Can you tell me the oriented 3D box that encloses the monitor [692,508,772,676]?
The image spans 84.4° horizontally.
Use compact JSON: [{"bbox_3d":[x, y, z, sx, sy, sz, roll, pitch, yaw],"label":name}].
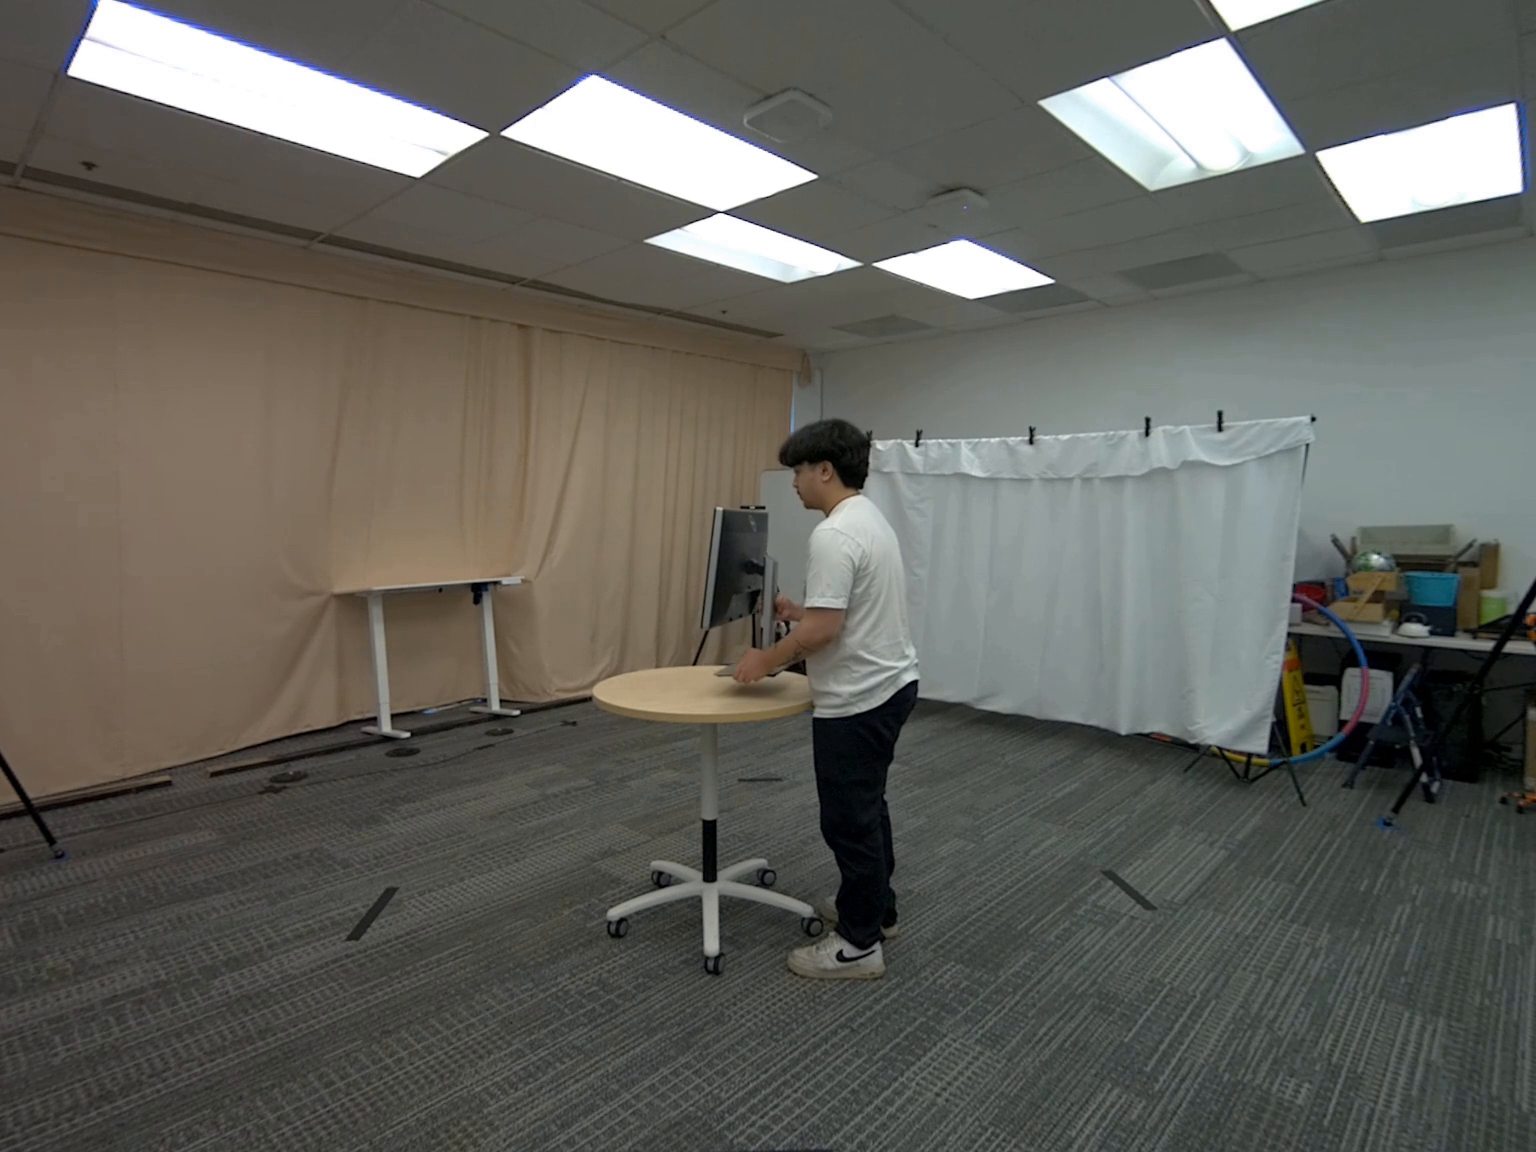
[{"bbox_3d":[-0.031,0.056,2.718,0.214,0.553,0.556,3,3,15],"label":"monitor"}]
